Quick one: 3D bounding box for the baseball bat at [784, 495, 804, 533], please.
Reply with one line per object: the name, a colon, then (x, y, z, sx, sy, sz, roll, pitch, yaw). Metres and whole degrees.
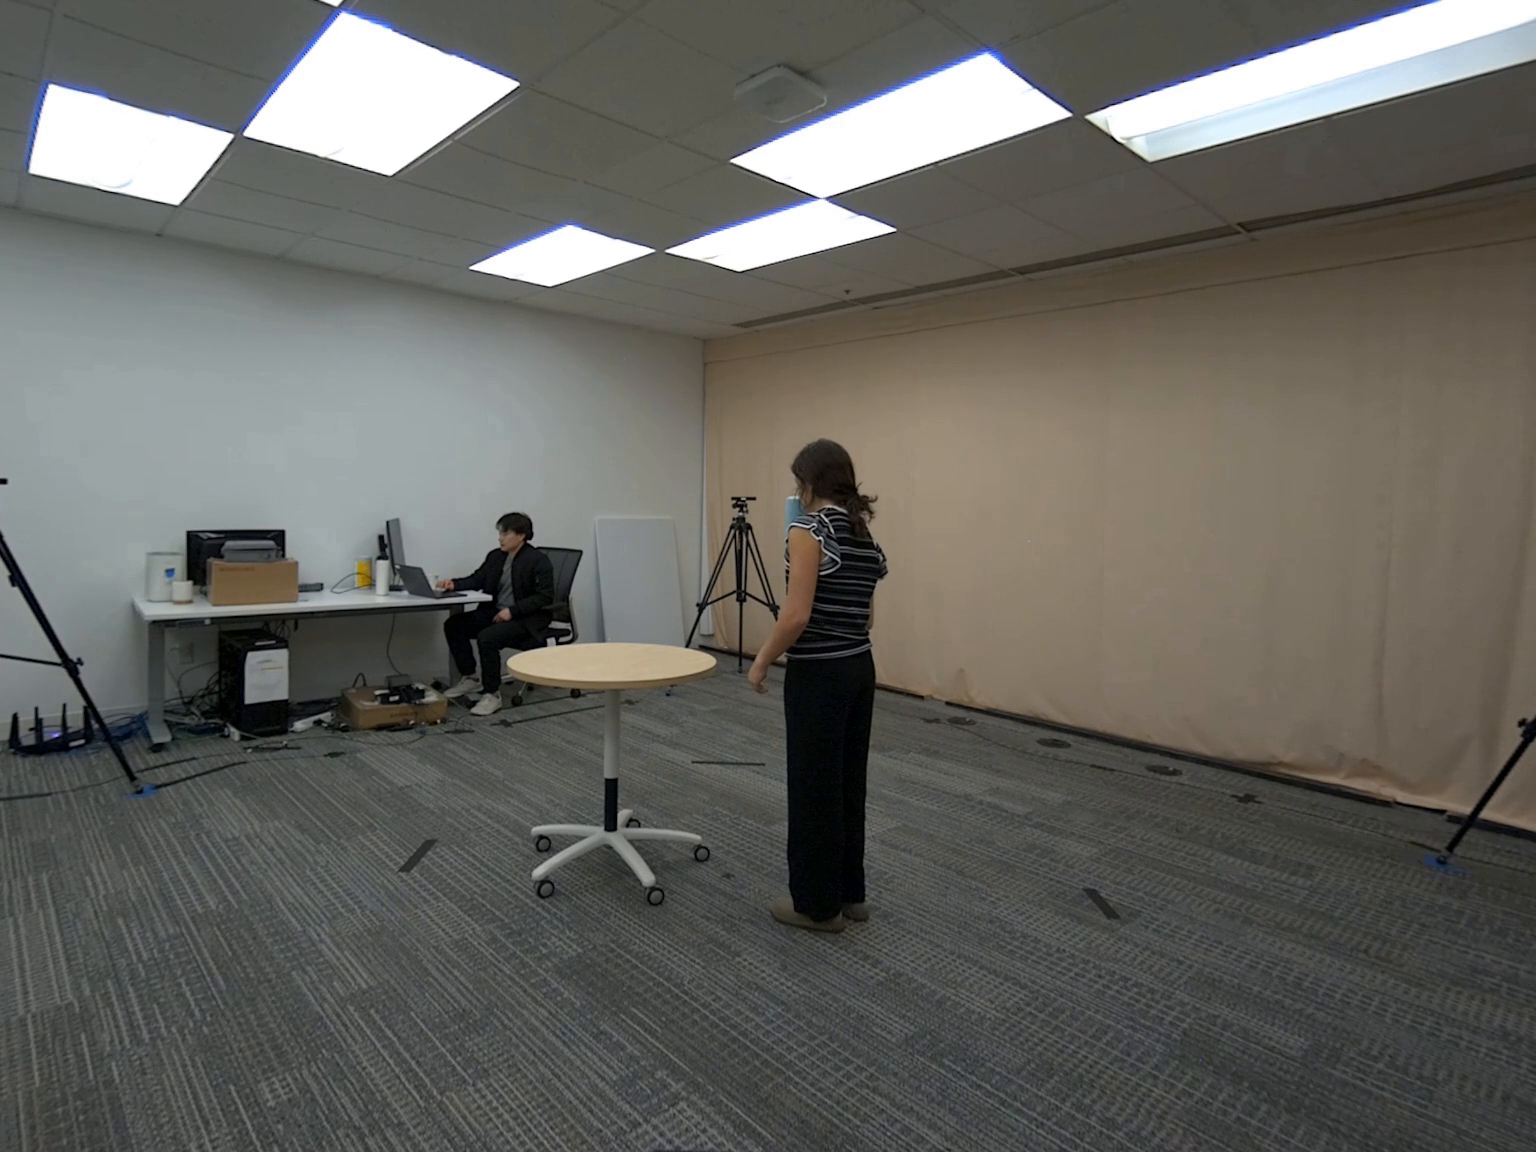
baseball bat: (0.103, -0.012, 2.997, 0.089, 0.539, 0.089, 0, 8, -1)
